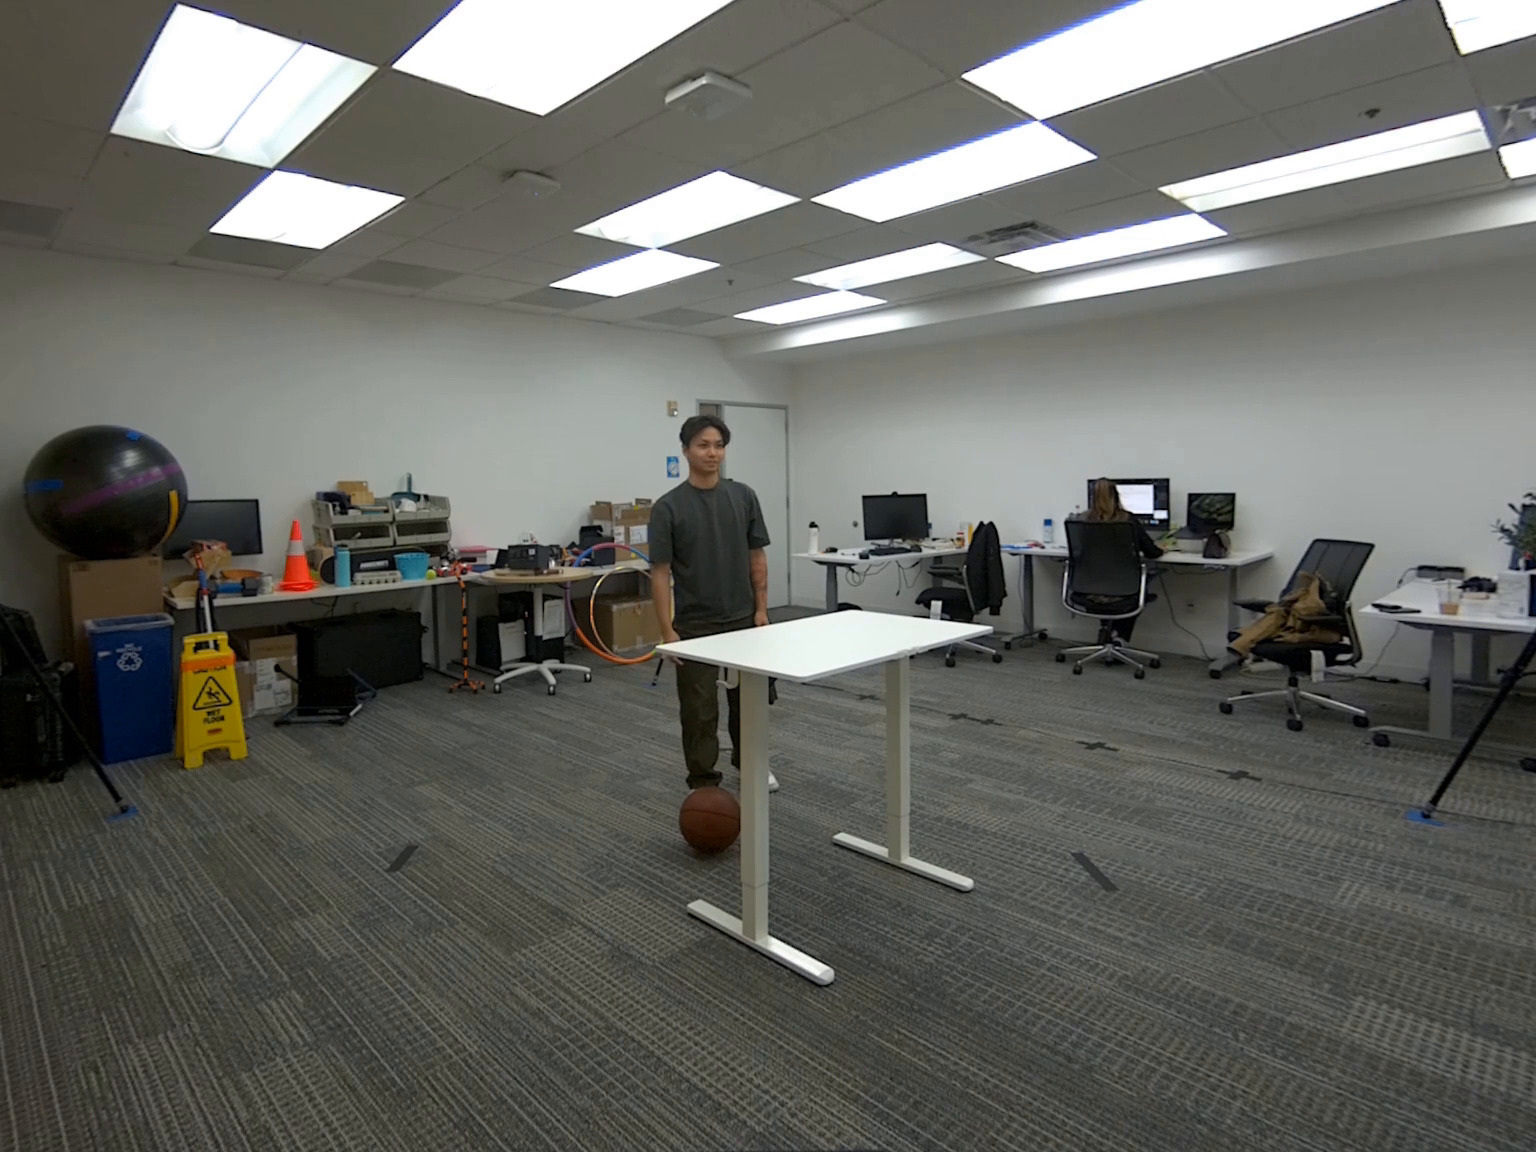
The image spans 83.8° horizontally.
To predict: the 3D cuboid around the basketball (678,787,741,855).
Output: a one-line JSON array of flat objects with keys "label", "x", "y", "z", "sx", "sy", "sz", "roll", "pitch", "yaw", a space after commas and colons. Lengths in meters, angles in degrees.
[{"label": "basketball", "x": -0.222, "y": 0.917, "z": 3.222, "sx": 0.236, "sy": 0.235, "sz": 0.237, "roll": -1, "pitch": 5, "yaw": -2}]
